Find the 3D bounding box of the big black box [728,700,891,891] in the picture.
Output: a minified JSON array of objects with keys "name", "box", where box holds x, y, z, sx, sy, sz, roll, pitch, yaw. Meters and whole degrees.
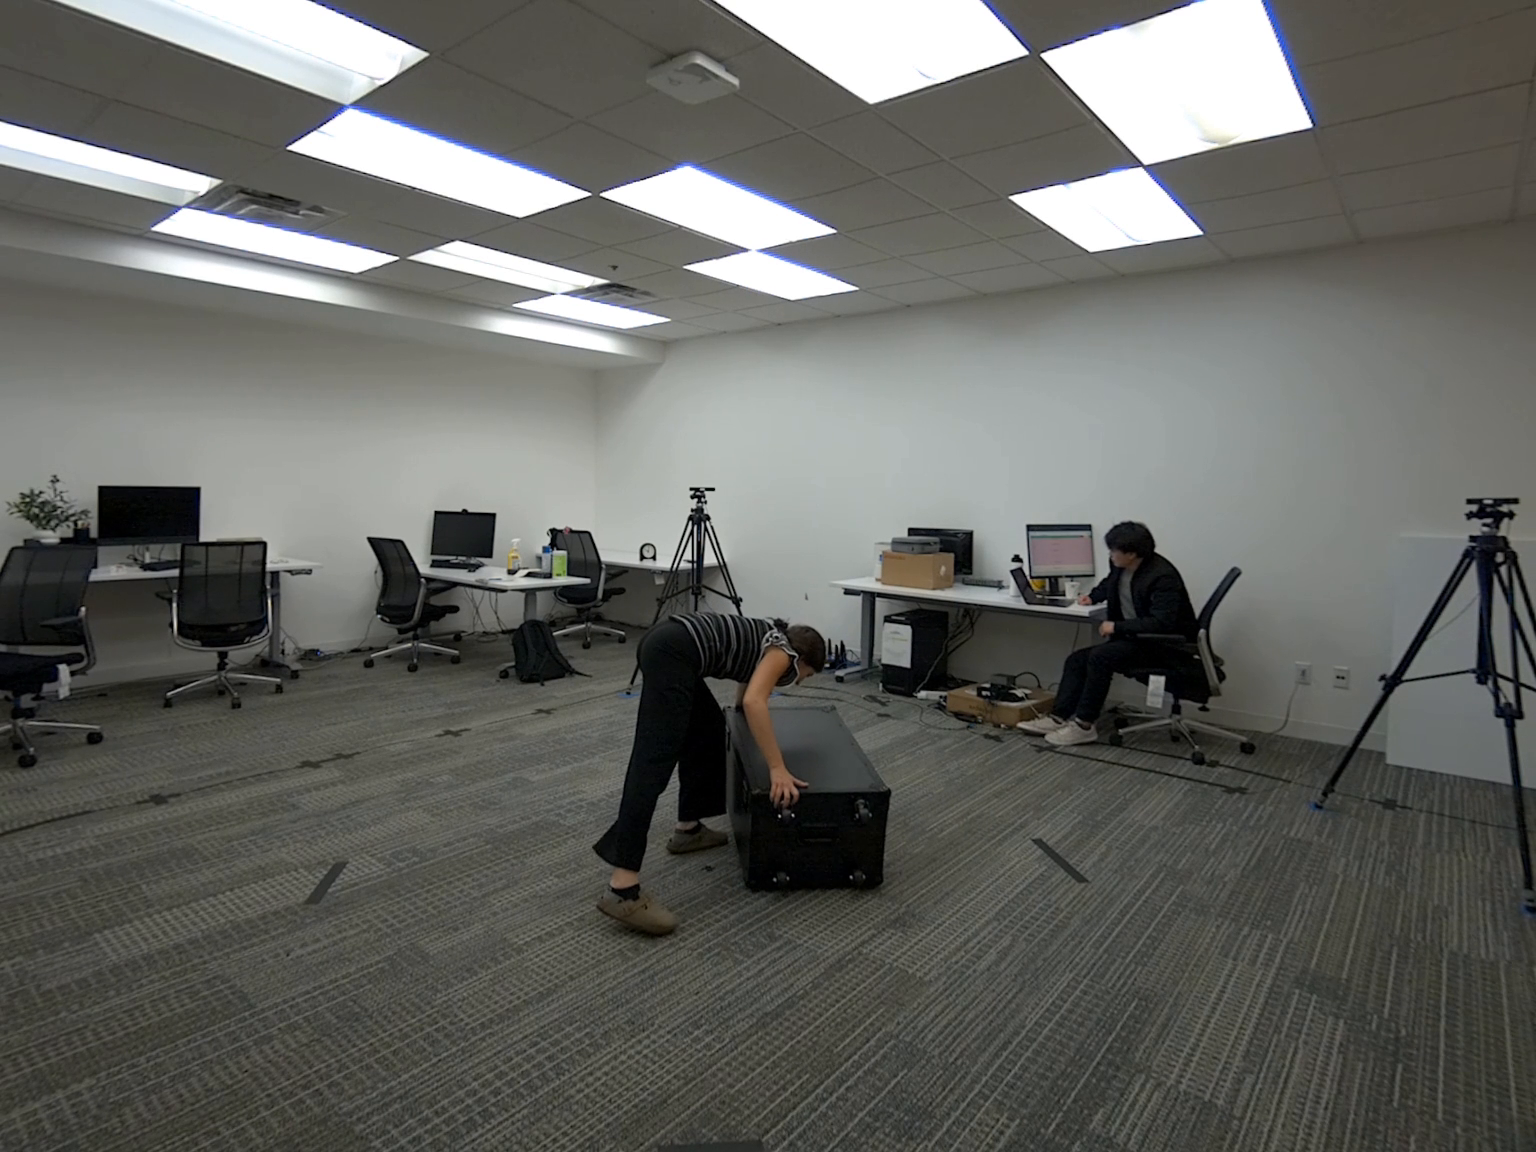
[{"name":"big black box","box":[0.109,0.837,3.267,0.516,0.393,0.878,2,11,-10]}]
